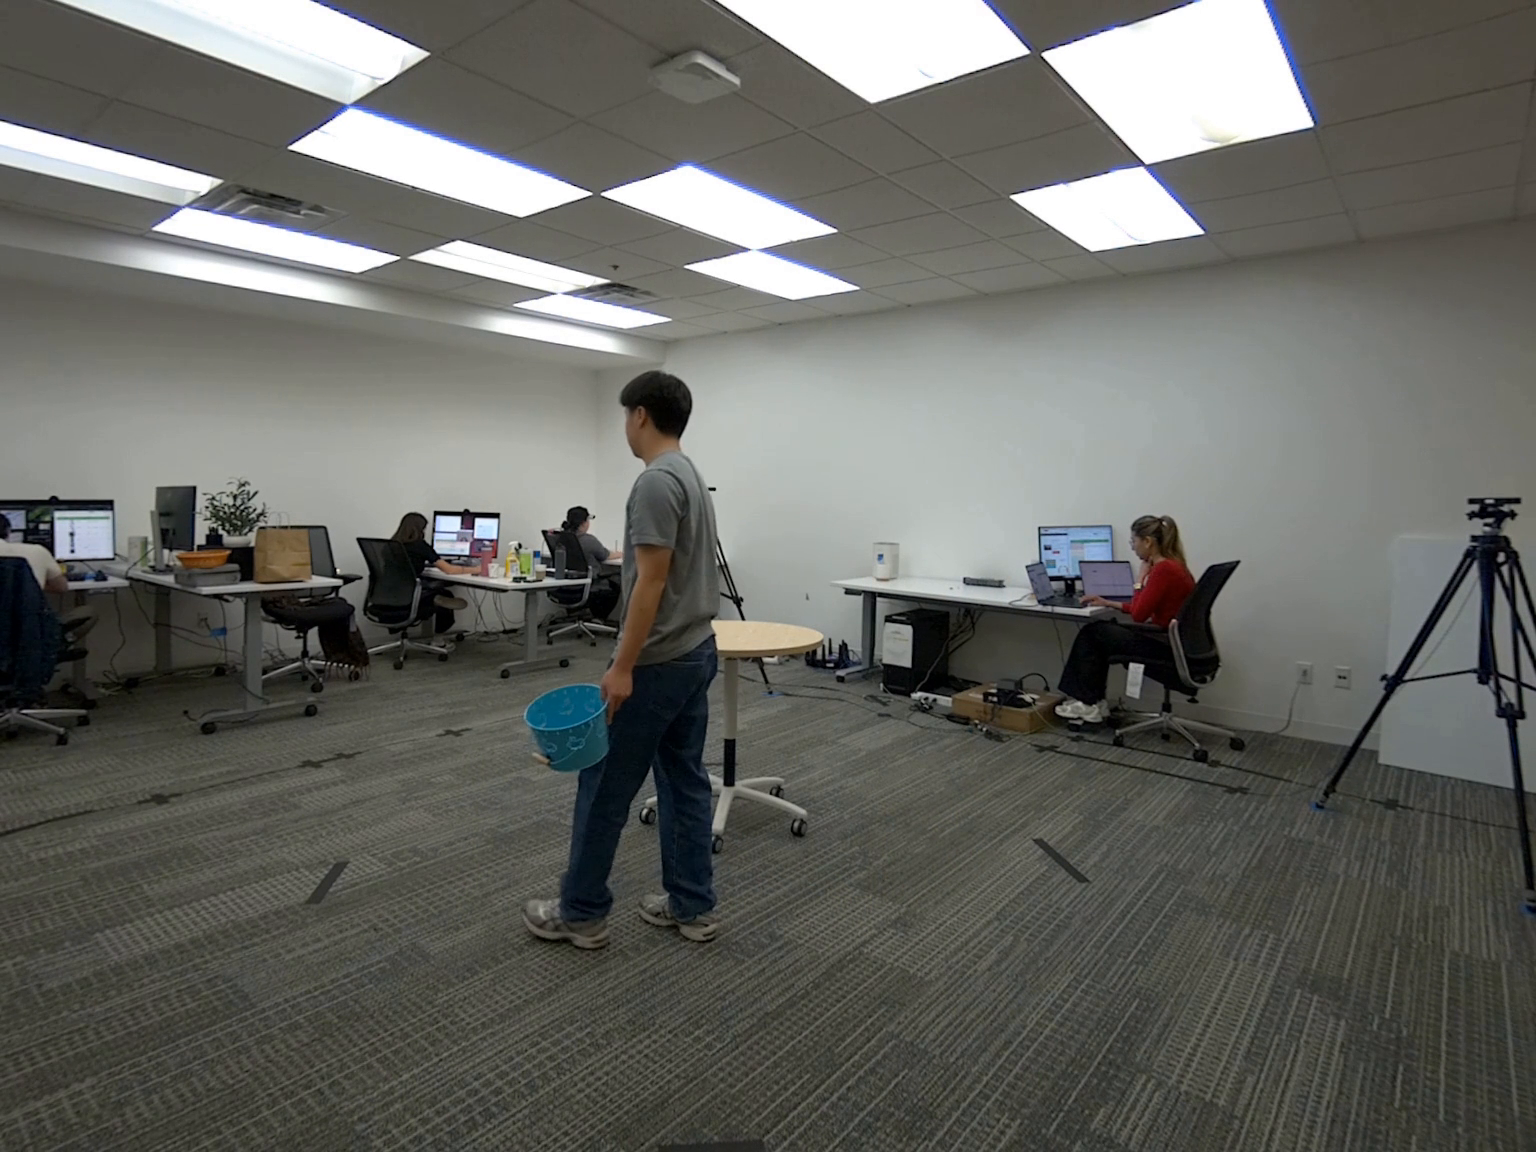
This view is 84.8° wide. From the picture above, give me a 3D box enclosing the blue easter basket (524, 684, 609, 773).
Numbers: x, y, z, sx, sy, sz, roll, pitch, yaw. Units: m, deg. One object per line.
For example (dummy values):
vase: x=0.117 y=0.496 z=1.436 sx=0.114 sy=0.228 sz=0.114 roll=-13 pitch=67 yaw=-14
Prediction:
blue easter basket: x=-0.567 y=0.429 z=2.355 sx=0.244 sy=0.153 sz=0.248 roll=-7 pitch=19 yaw=0
